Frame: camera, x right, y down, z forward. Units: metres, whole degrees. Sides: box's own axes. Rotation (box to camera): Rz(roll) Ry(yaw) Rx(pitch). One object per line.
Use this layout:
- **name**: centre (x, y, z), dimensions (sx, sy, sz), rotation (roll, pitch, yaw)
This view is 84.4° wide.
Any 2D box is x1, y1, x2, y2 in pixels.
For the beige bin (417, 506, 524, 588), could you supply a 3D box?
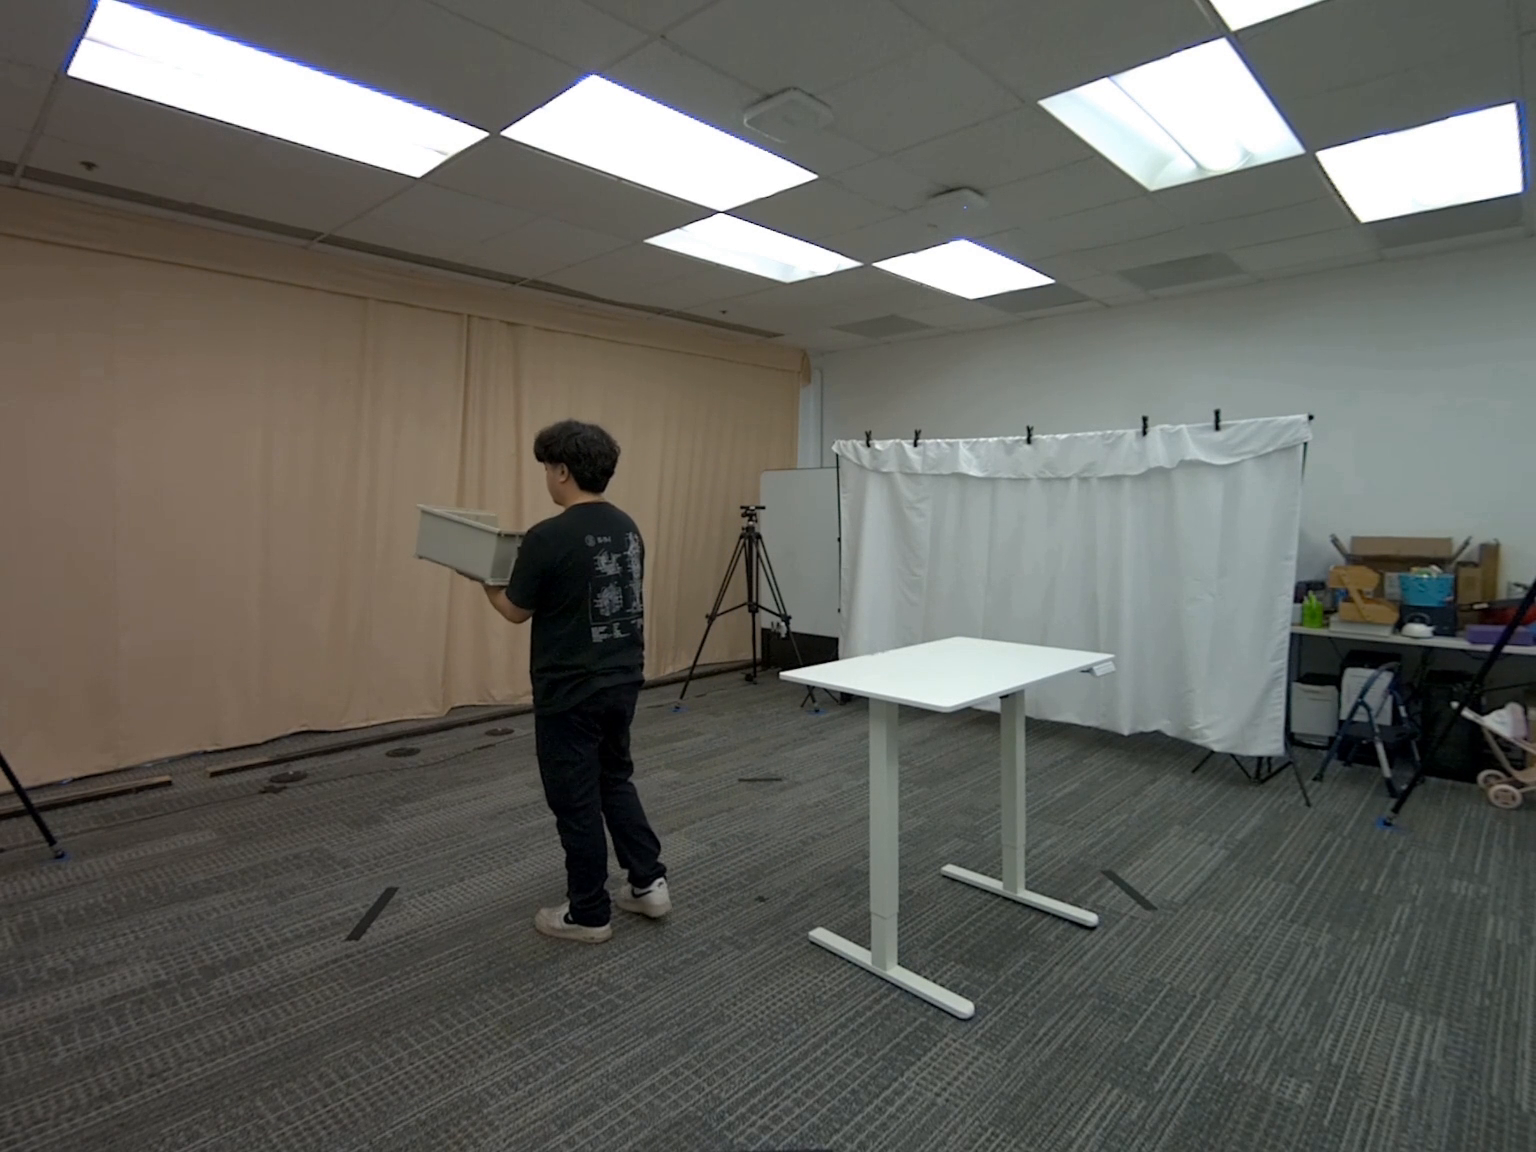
- **beige bin**: centre (-0.928, -0.101, 2.875), dimensions (0.436, 0.188, 0.366), rotation (15, 8, 31)
